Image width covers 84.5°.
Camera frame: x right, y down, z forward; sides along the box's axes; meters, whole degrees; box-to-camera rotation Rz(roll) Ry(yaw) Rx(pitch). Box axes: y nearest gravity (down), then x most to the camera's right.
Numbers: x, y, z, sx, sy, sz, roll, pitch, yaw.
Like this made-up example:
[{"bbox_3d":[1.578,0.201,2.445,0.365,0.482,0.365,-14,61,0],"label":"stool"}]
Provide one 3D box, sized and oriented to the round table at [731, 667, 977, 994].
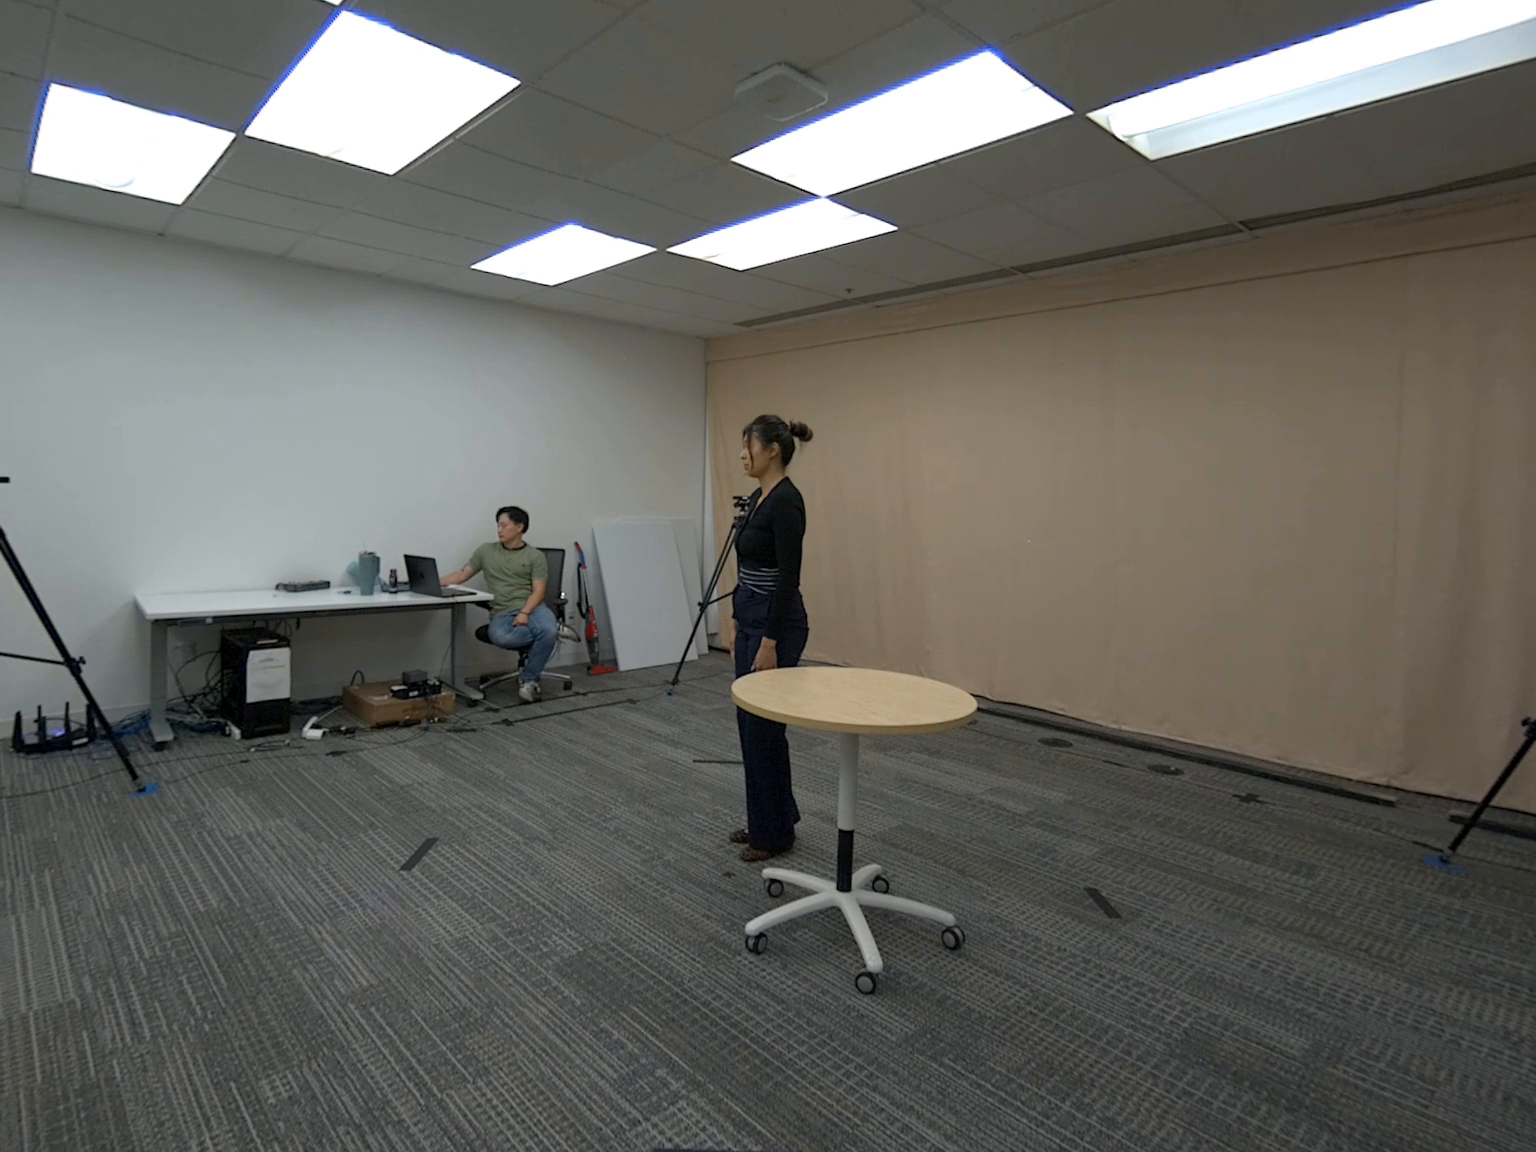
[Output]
[{"bbox_3d":[0.255,0.763,2.692,0.763,0.791,0.767,2,5,-2],"label":"round table"}]
